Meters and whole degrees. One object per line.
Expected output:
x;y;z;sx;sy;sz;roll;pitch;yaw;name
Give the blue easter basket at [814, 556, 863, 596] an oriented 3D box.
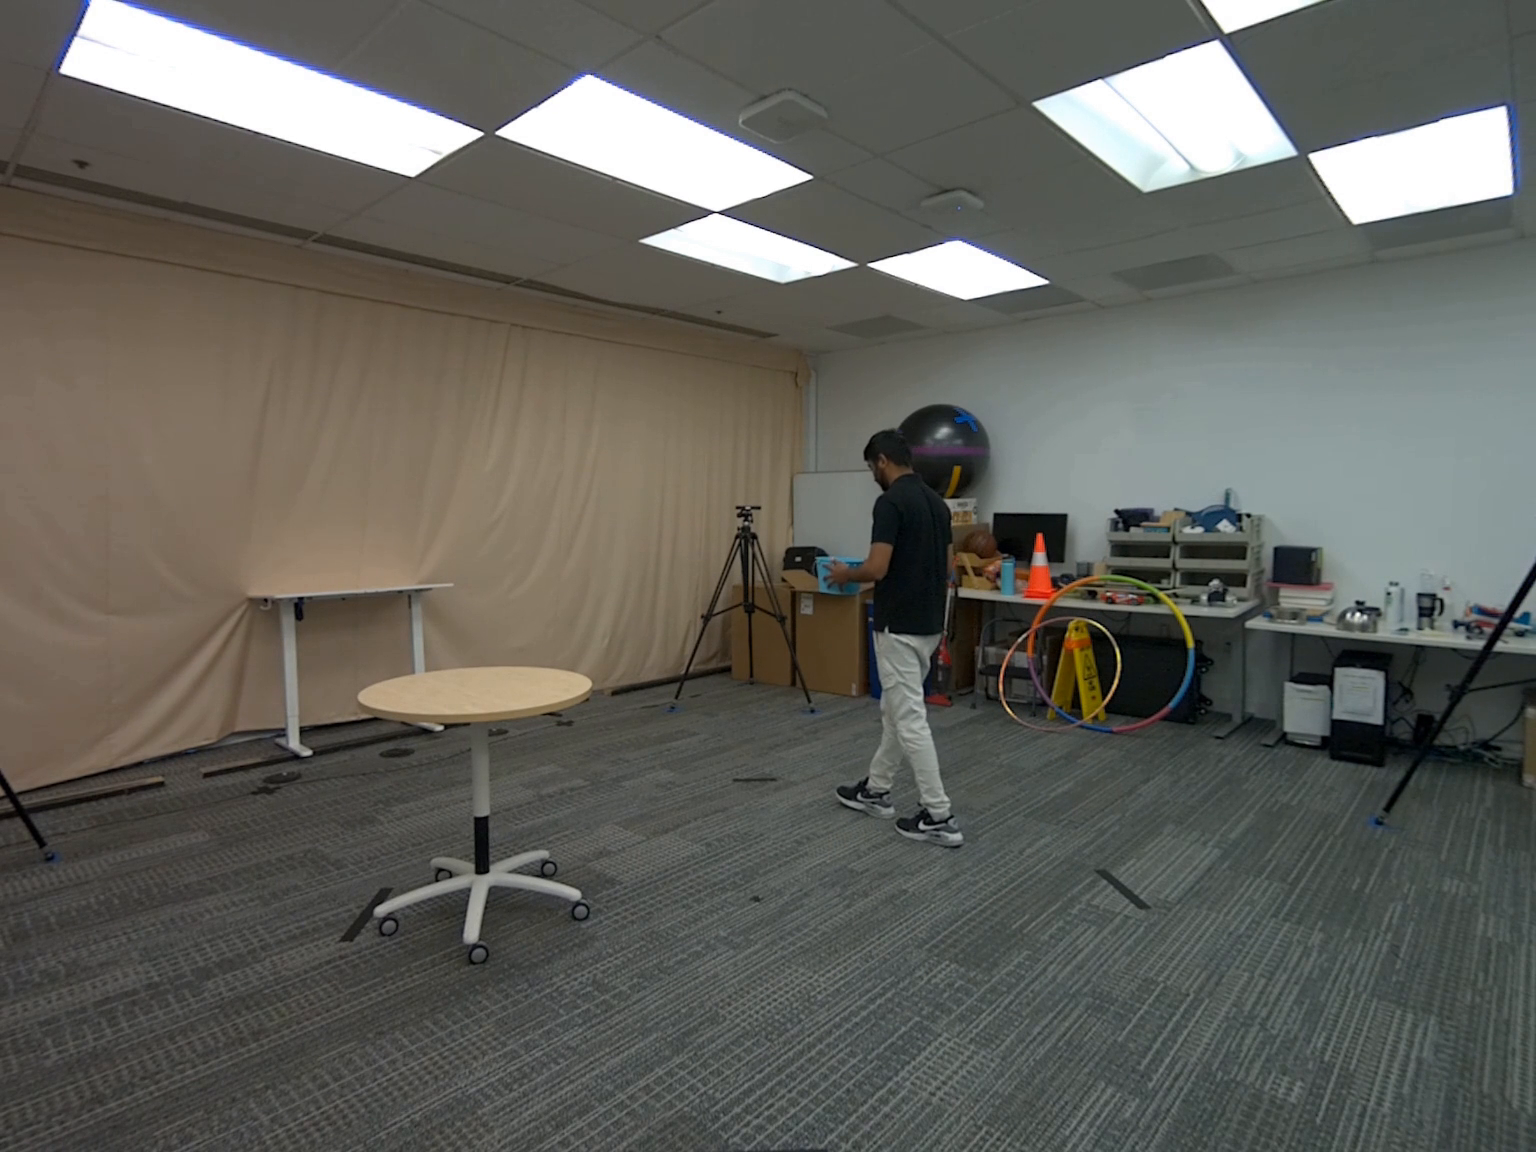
0.342;-0.001;3.907;0.243;0.155;0.245;3;5;-2;blue easter basket
